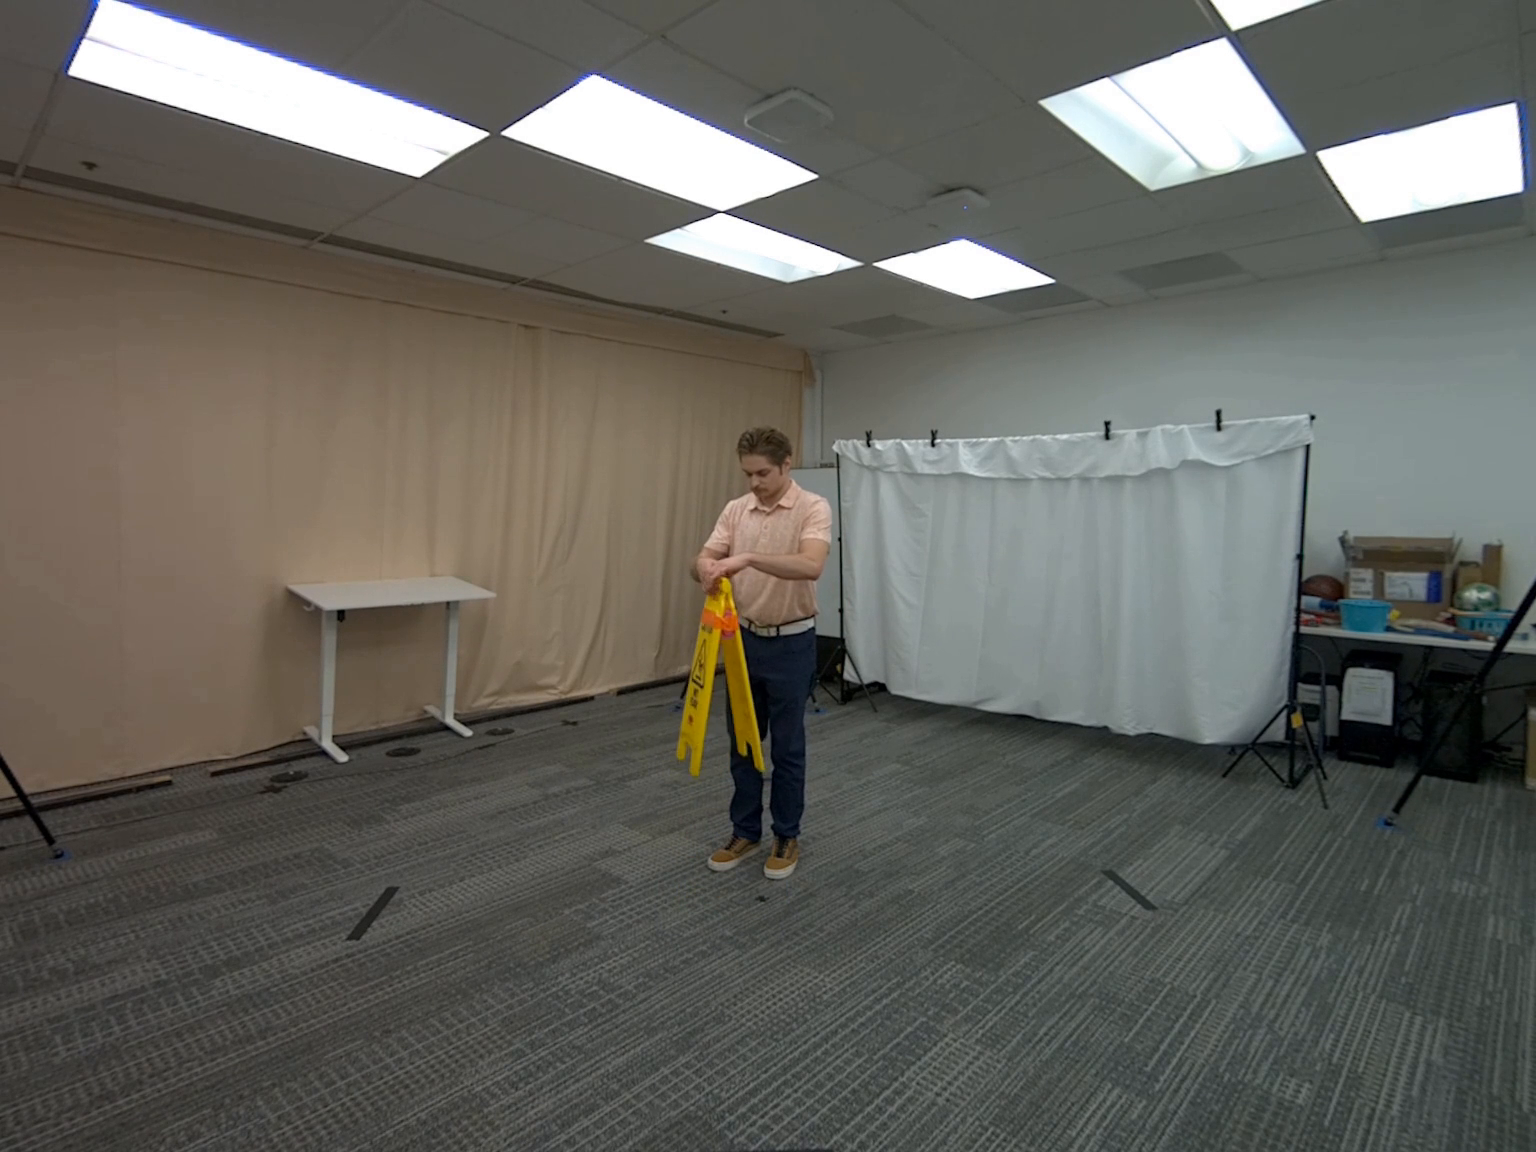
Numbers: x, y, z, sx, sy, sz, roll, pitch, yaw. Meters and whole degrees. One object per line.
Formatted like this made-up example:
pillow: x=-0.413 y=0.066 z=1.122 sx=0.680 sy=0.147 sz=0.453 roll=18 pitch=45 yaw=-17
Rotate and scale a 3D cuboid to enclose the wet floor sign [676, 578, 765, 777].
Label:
wet floor sign: x=-0.165 y=0.330 z=2.915 sx=0.284 sy=0.646 sz=0.288 roll=-1 pitch=1 yaw=-19
